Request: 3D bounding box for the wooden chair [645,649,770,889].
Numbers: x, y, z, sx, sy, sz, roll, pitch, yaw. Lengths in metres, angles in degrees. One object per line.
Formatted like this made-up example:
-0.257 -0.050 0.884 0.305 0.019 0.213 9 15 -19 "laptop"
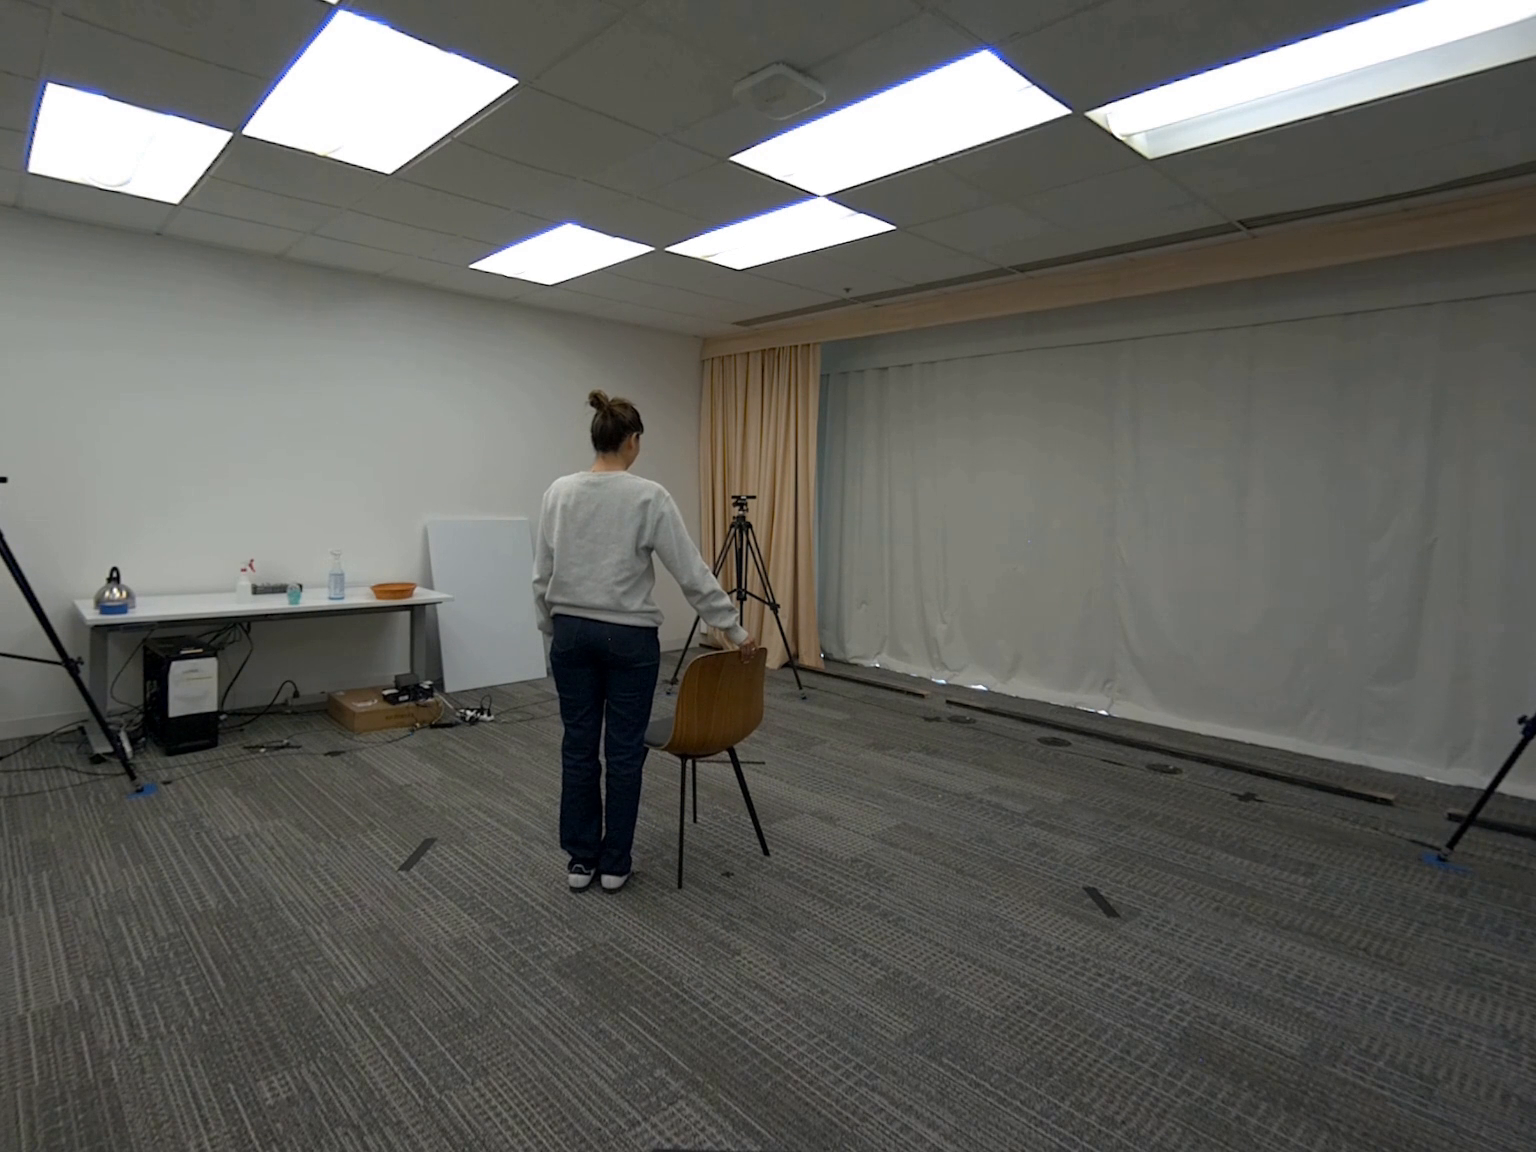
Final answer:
-0.308 0.657 3.268 0.467 0.873 0.537 -2 9 -43 "wooden chair"
